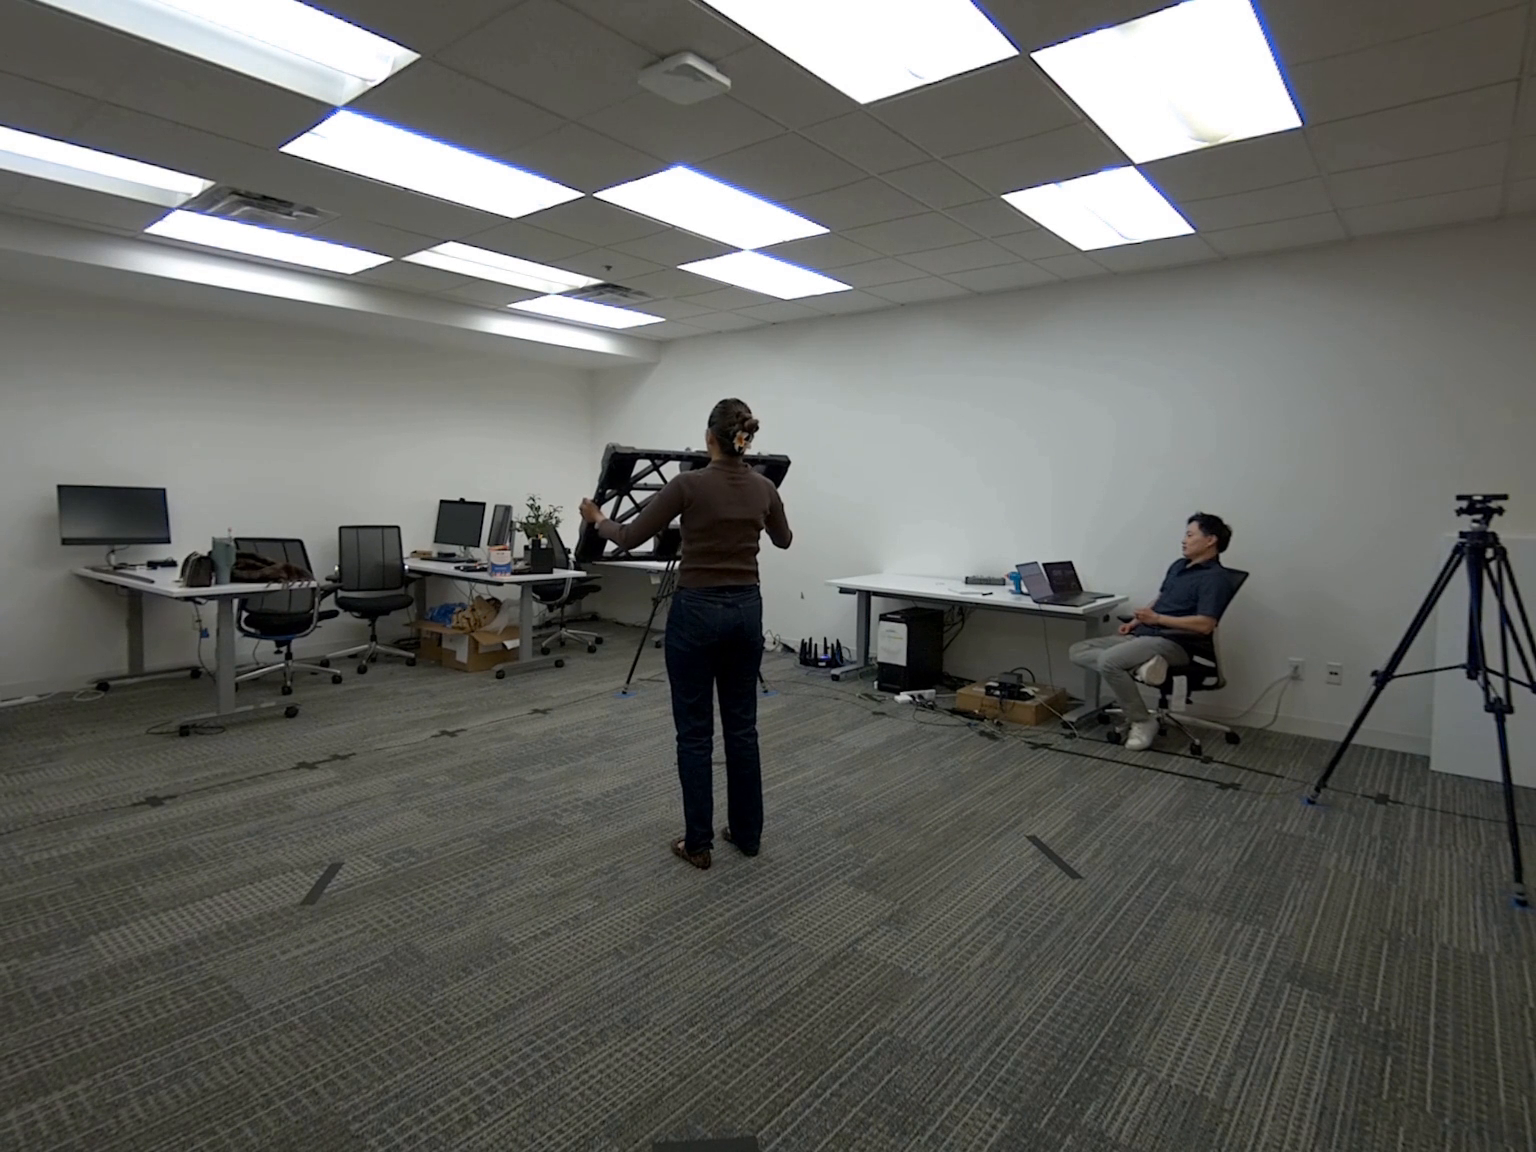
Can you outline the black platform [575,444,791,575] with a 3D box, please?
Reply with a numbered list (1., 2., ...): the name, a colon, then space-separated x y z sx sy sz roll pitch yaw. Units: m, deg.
1. black platform: -0.380 -0.308 3.556 0.784 0.598 0.149 -1 46 -29
